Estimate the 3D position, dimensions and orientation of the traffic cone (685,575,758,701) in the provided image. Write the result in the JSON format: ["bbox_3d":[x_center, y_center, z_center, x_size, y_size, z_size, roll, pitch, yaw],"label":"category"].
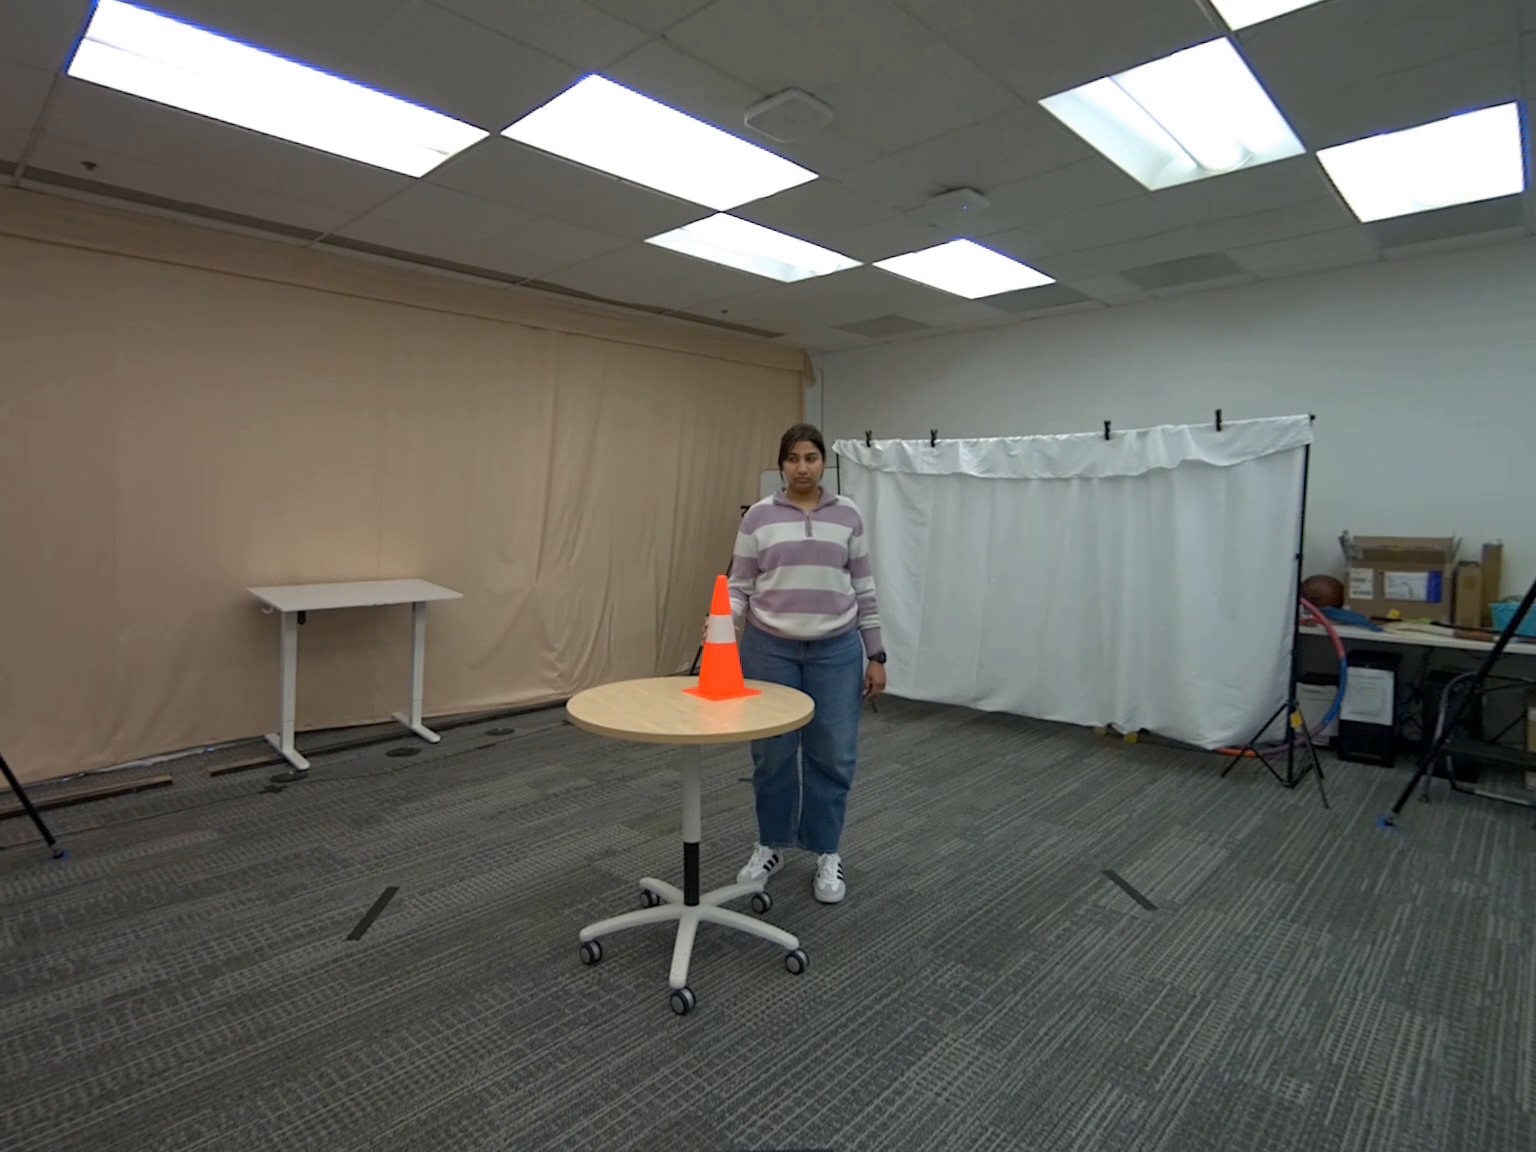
[{"bbox_3d":[-0.154,0.192,2.750,0.197,0.384,0.211,-1,0,-39],"label":"traffic cone"}]
